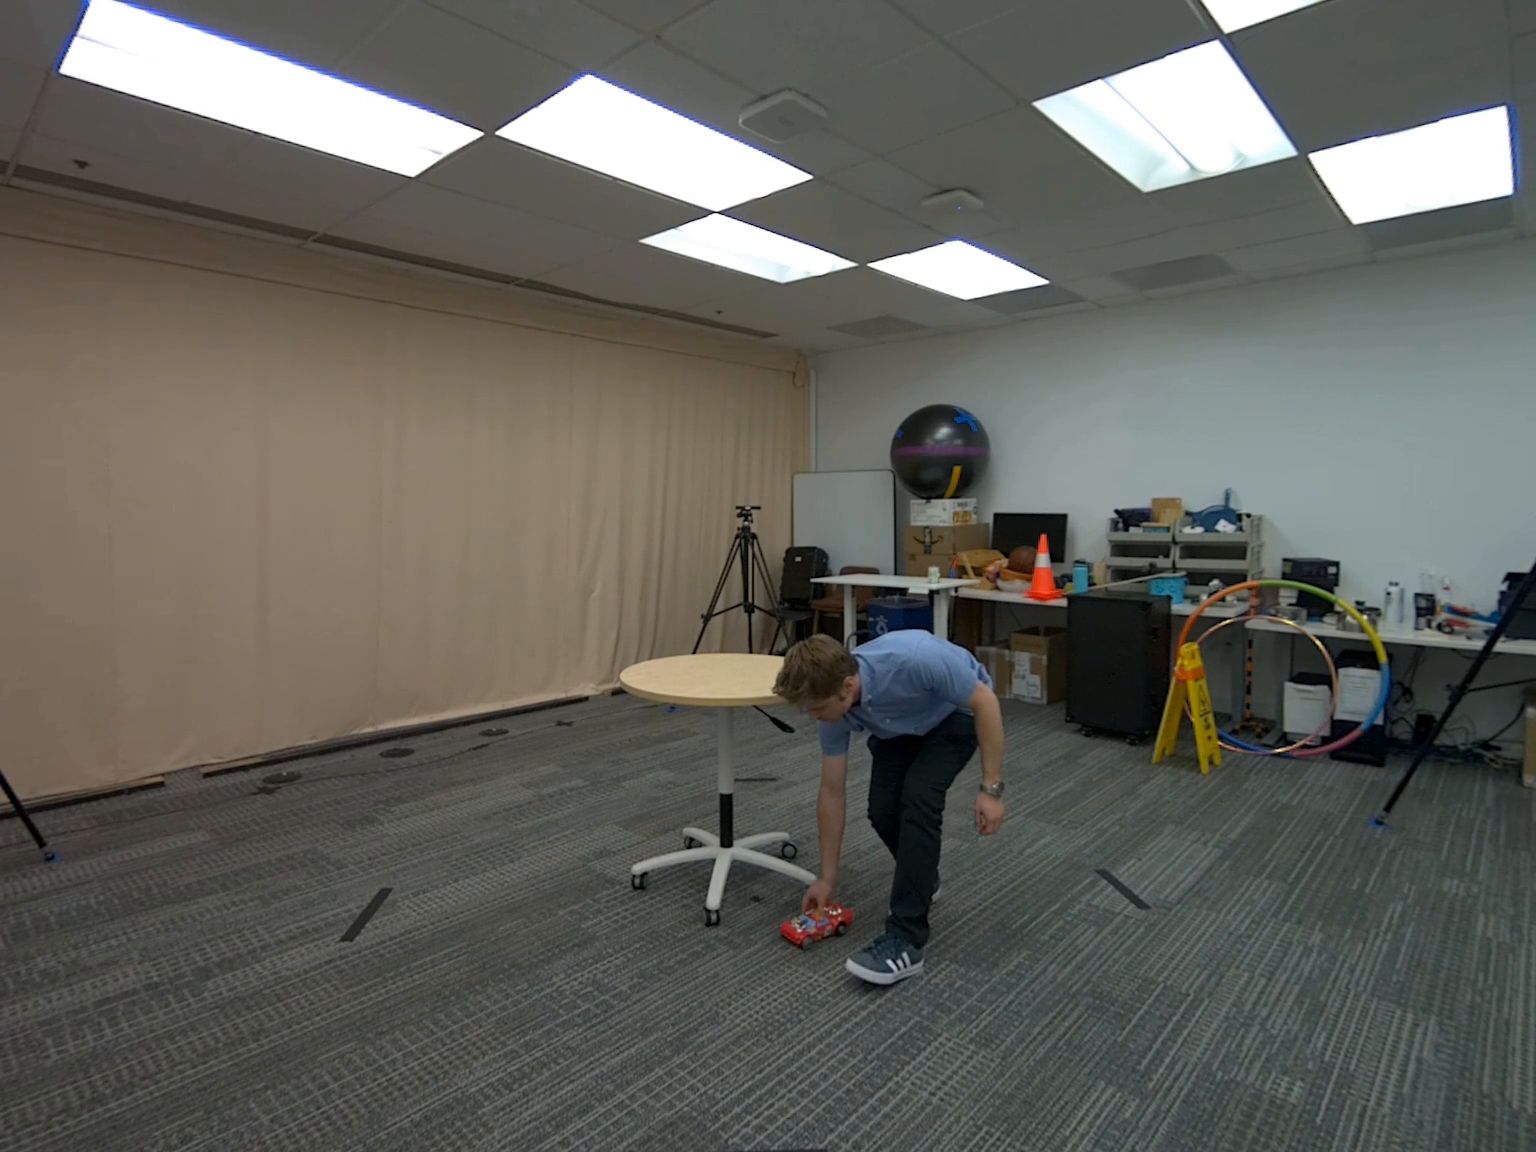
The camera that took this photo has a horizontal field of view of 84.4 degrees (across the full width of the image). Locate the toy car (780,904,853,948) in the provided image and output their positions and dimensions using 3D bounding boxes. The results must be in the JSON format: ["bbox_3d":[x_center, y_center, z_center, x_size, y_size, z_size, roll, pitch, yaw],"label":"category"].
[{"bbox_3d":[0.167,1.137,2.733,0.248,0.082,0.134,-16,12,-33],"label":"toy car"}]
